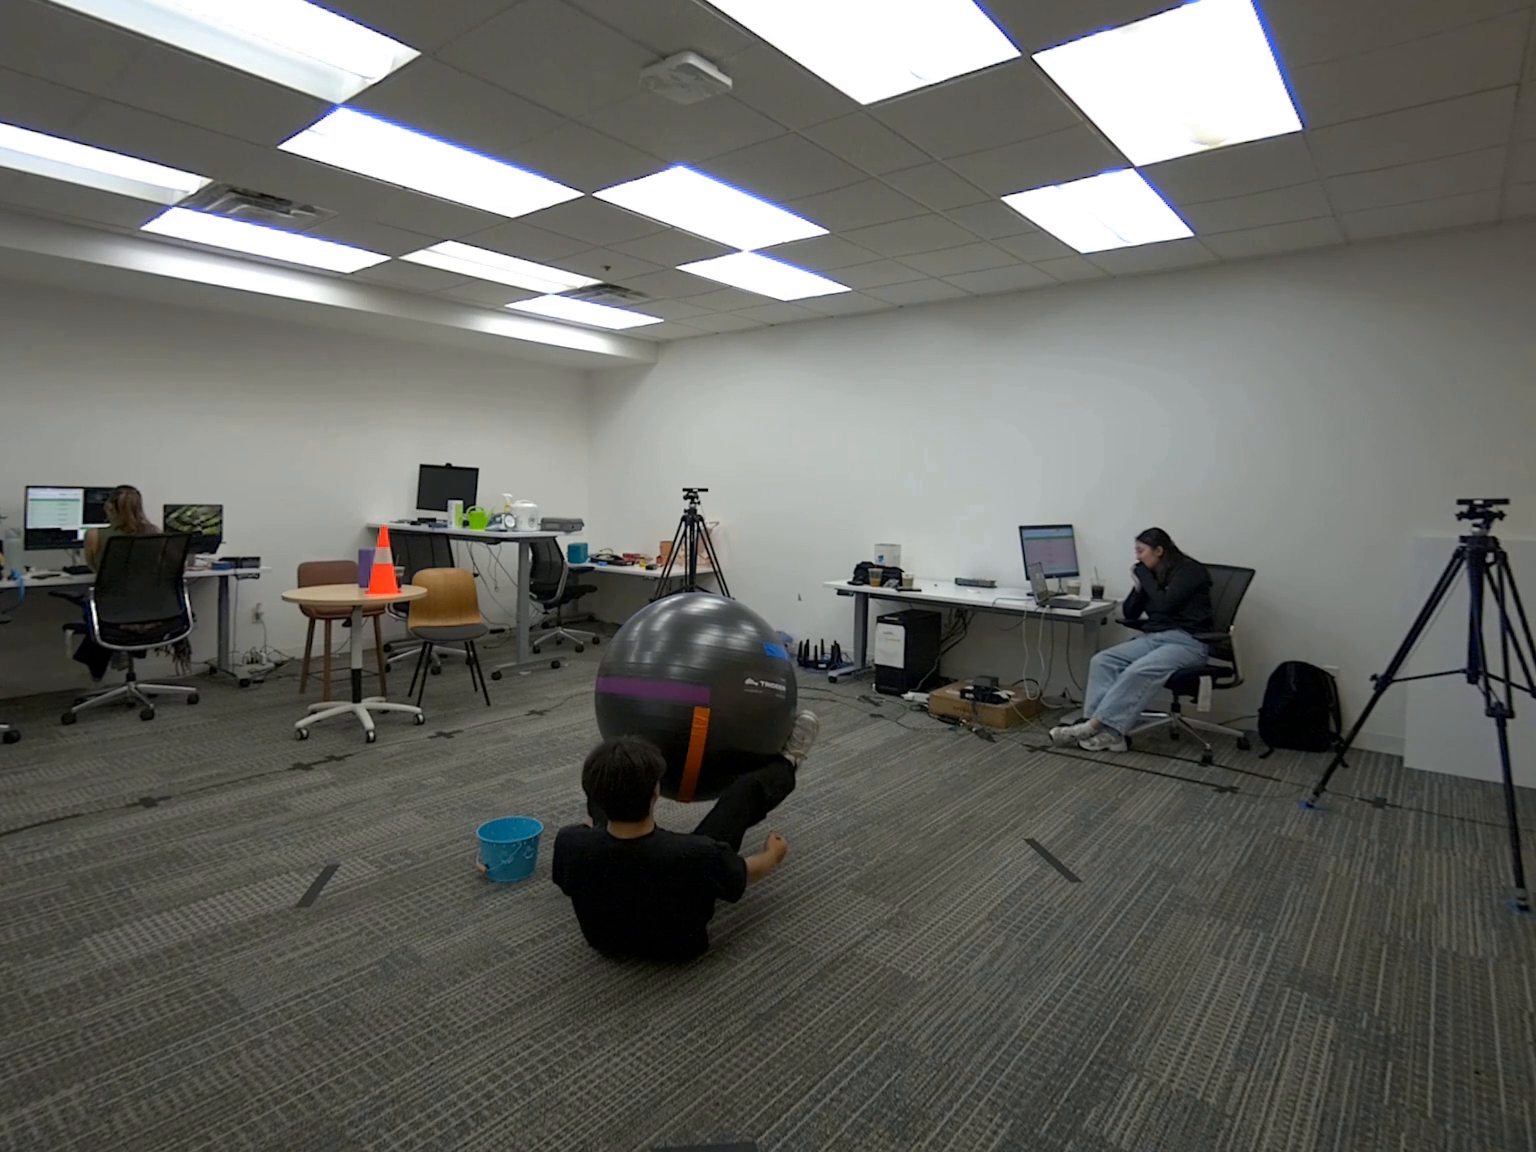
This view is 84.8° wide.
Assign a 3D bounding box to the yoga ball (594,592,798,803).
[{"bbox_3d":[-0.279,0.445,3.174,0.757,0.755,0.762,1,4,-2],"label":"yoga ball"}]
